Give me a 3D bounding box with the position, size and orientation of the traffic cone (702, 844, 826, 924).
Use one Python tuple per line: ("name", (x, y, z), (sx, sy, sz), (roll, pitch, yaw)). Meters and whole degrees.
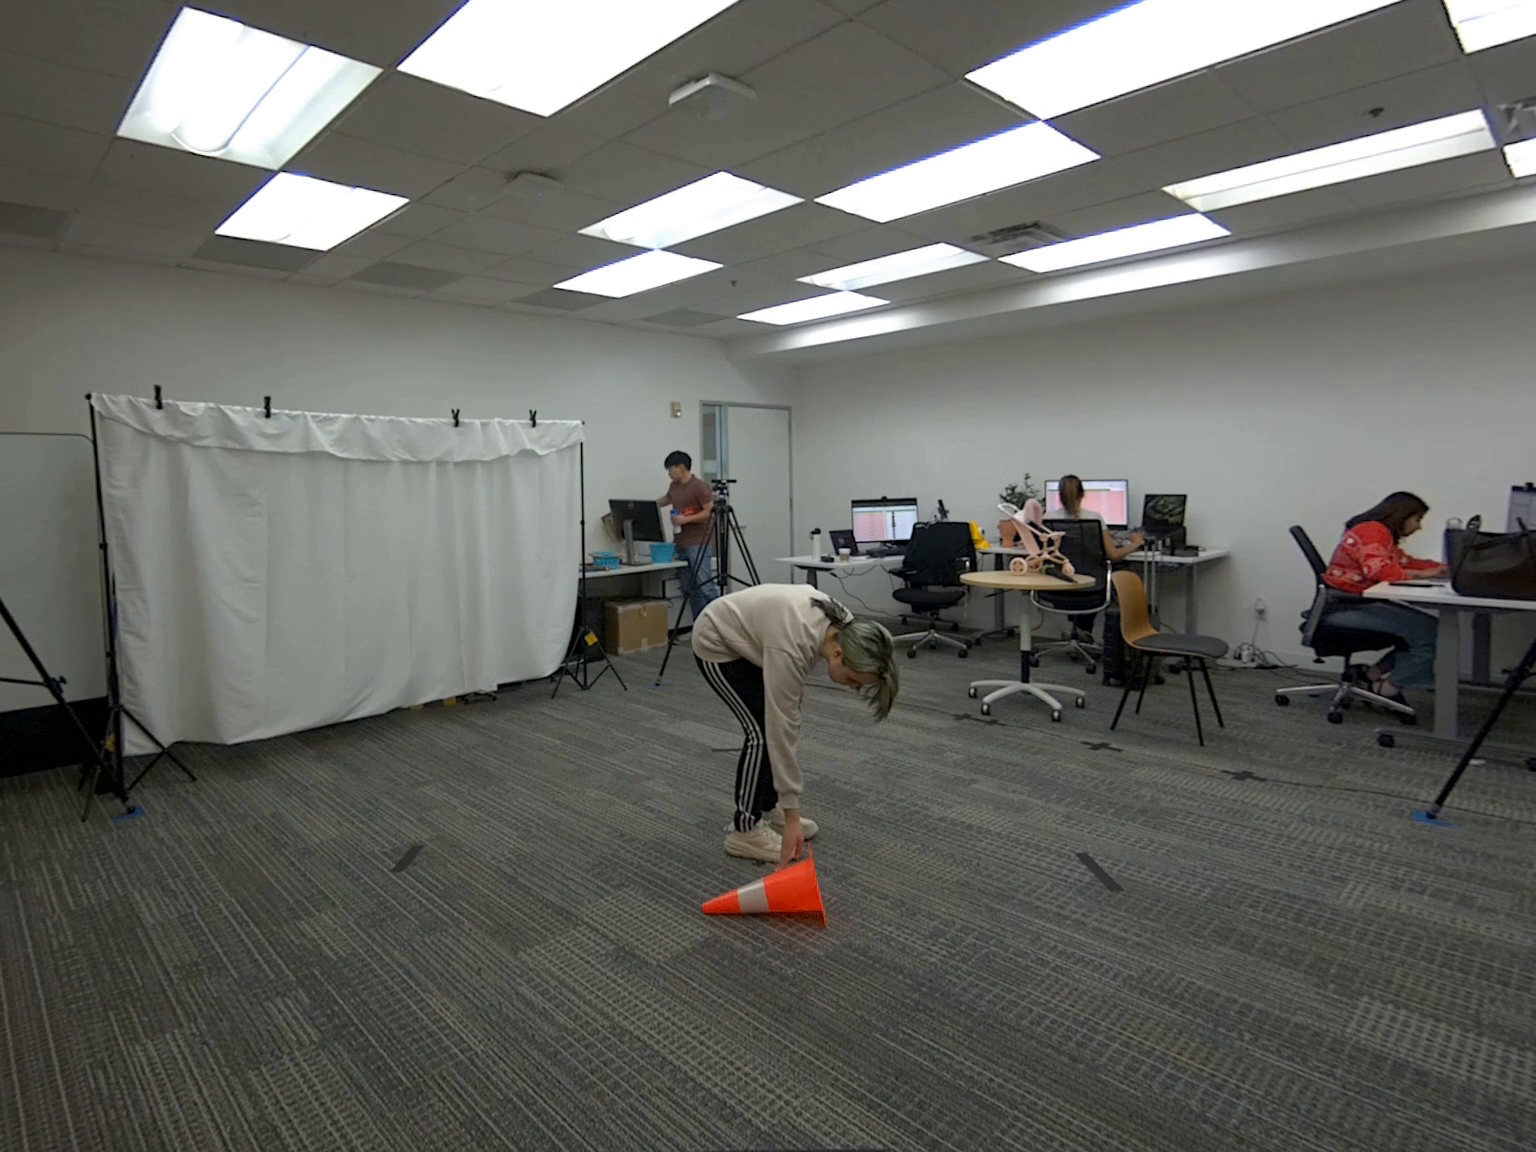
("traffic cone", (-0.023, 1.037, 2.751), (0.384, 0.202, 0.206), (-12, 7, 1))
